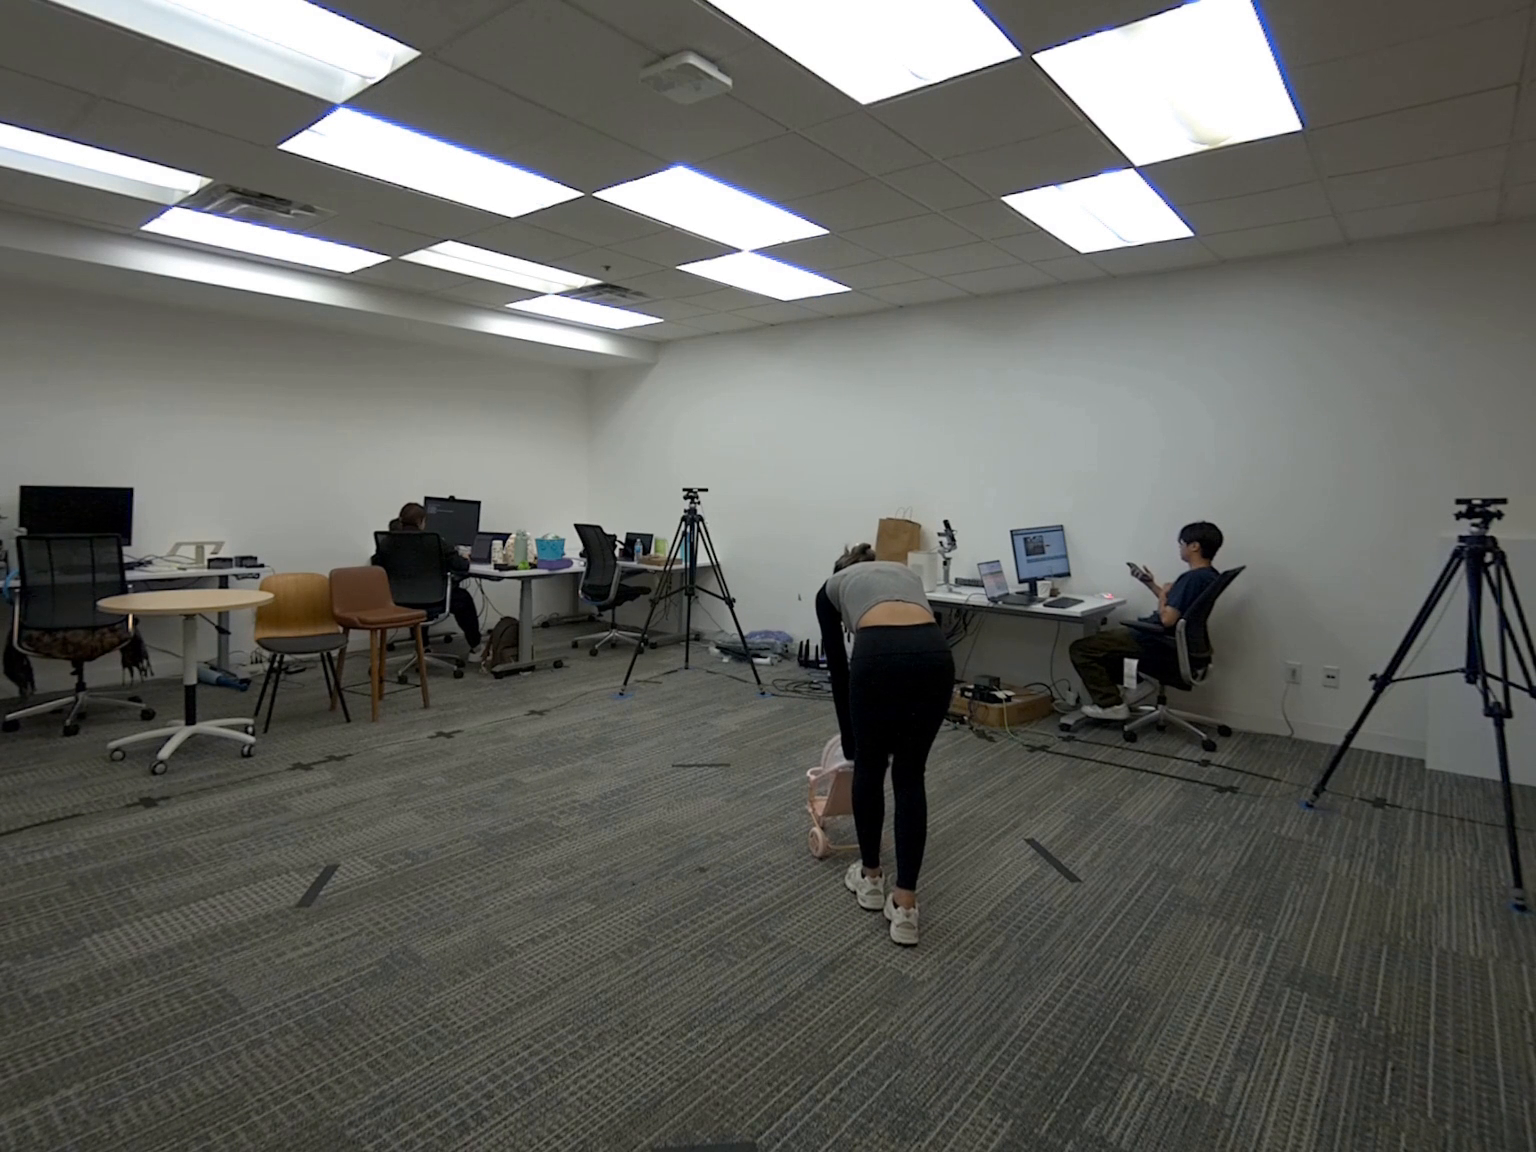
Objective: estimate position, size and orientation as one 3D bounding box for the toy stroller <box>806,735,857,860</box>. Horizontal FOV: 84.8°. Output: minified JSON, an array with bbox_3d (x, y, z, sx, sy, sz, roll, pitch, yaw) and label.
[{"bbox_3d":[0.280,0.837,3.331,0.277,0.527,0.352,2,20,-16],"label":"toy stroller"}]
